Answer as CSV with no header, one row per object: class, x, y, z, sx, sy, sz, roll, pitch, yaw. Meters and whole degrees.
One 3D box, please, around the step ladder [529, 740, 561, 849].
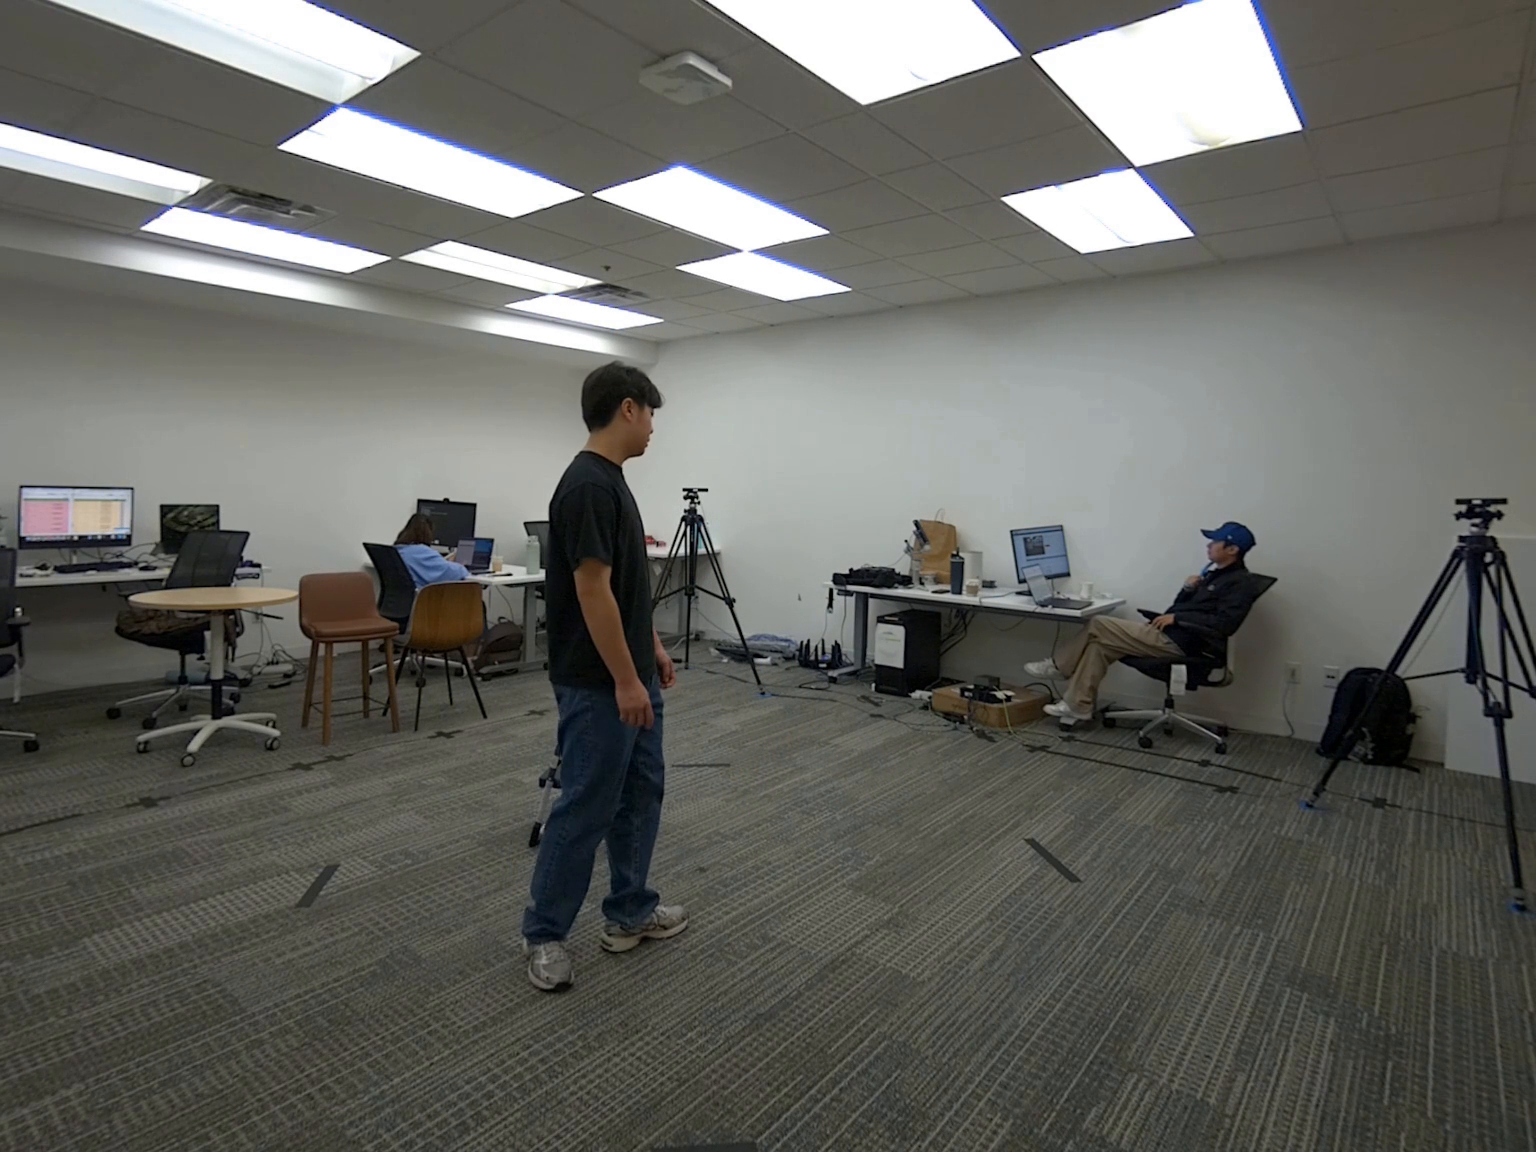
step ladder,-0.745,0.727,3.440,0.350,0.605,0.430,2,3,1
